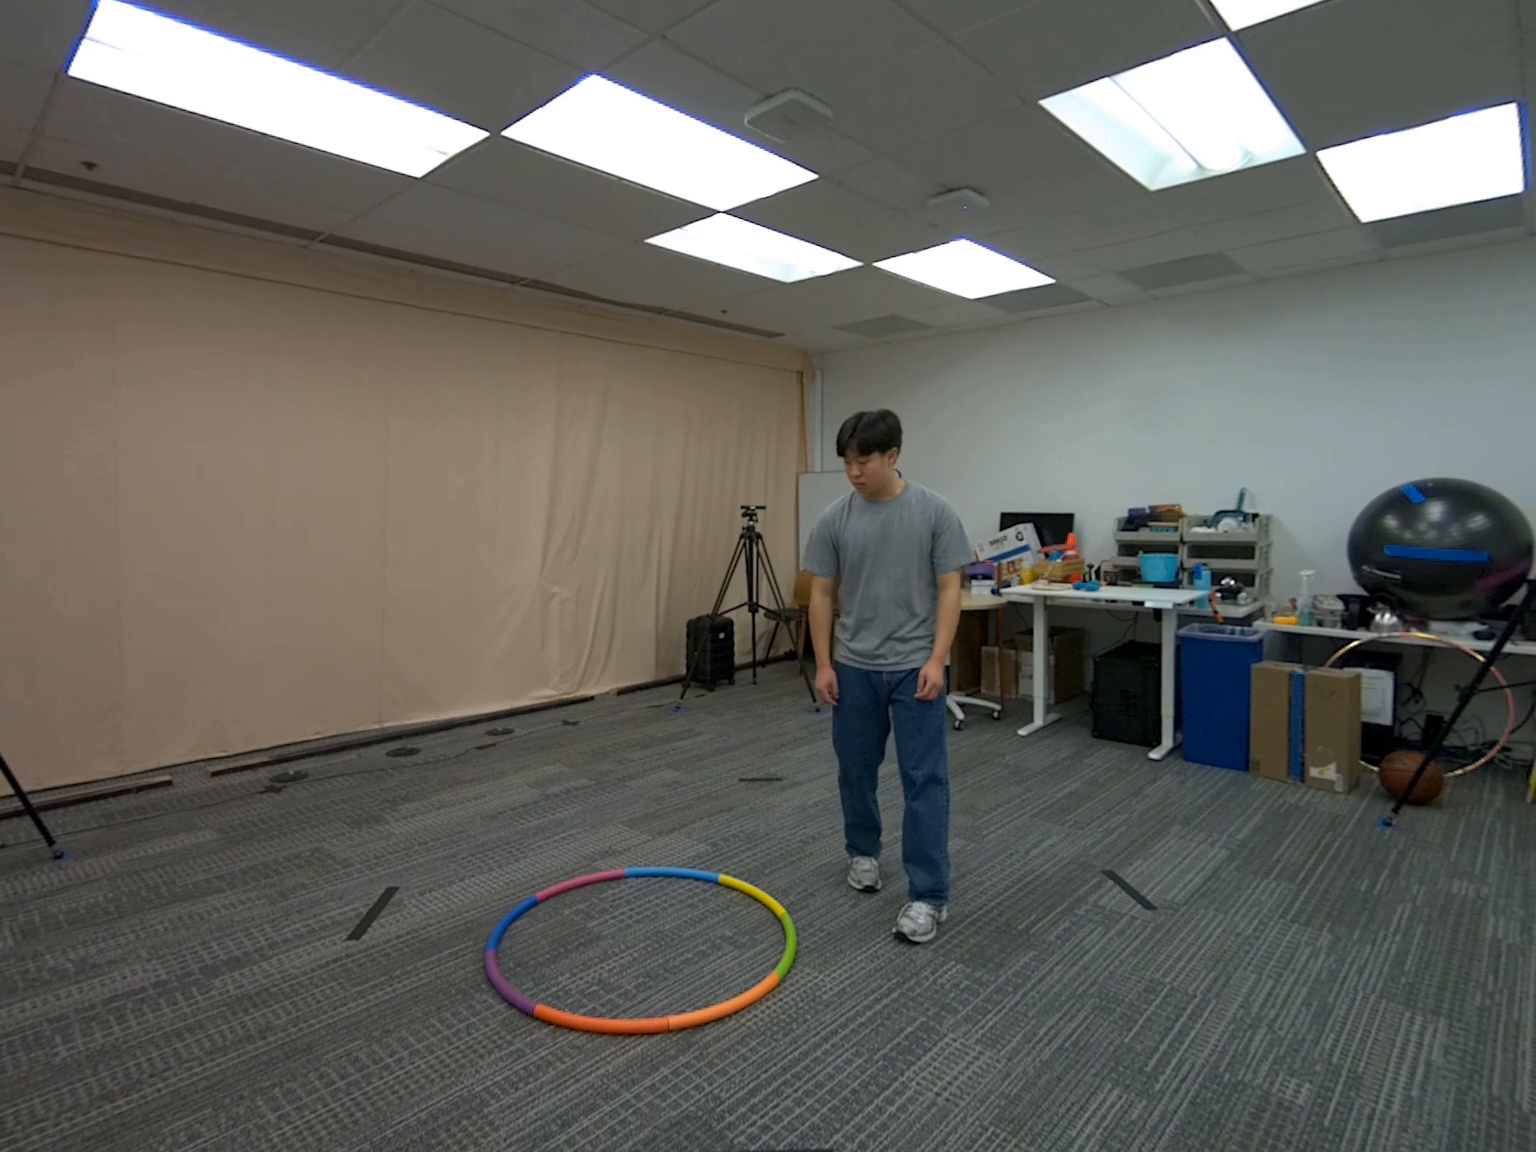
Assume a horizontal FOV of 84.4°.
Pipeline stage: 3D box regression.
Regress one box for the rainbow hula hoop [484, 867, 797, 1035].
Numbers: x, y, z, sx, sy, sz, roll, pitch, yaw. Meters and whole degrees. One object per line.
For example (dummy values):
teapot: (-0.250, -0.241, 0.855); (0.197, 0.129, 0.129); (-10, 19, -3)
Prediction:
rainbow hula hoop: (-0.398, 1.143, 2.706); (0.978, 0.035, 0.982); (-1, 4, -2)
